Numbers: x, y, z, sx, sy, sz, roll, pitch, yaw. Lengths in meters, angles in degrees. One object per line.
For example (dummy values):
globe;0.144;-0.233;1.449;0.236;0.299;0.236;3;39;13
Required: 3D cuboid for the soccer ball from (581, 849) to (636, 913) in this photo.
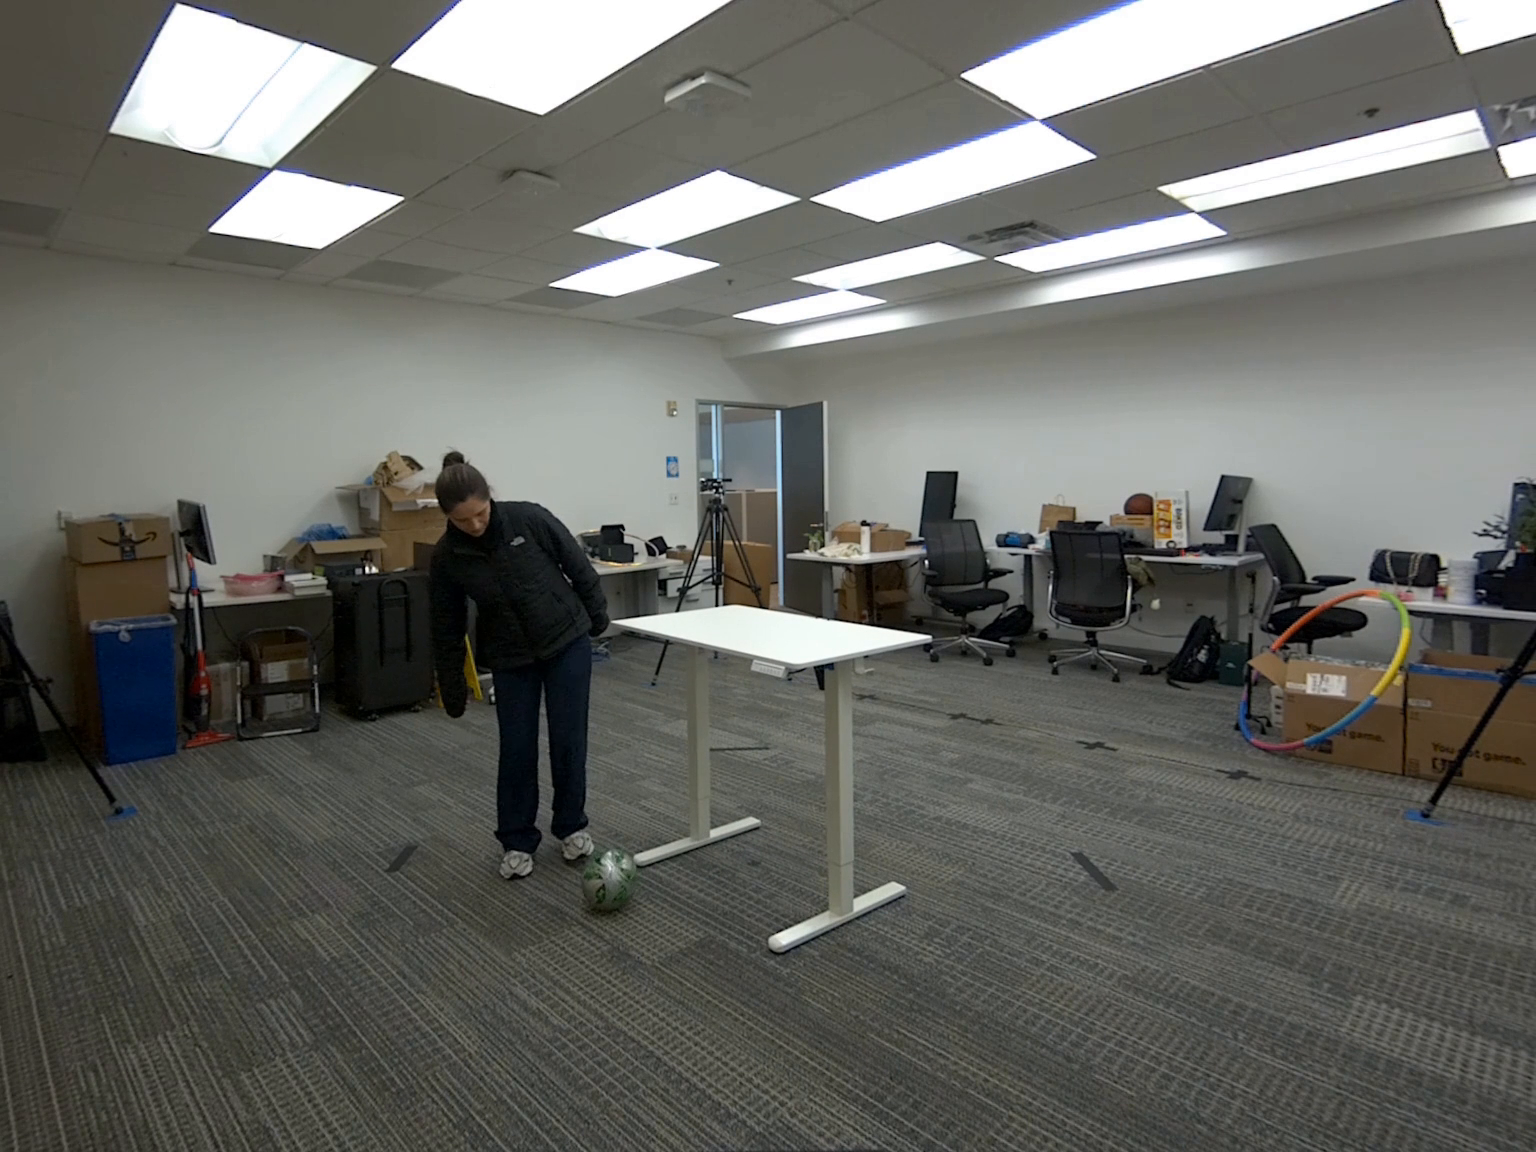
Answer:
soccer ball;-0.514;0.994;2.799;0.187;0.187;0.188;-1;5;-2
